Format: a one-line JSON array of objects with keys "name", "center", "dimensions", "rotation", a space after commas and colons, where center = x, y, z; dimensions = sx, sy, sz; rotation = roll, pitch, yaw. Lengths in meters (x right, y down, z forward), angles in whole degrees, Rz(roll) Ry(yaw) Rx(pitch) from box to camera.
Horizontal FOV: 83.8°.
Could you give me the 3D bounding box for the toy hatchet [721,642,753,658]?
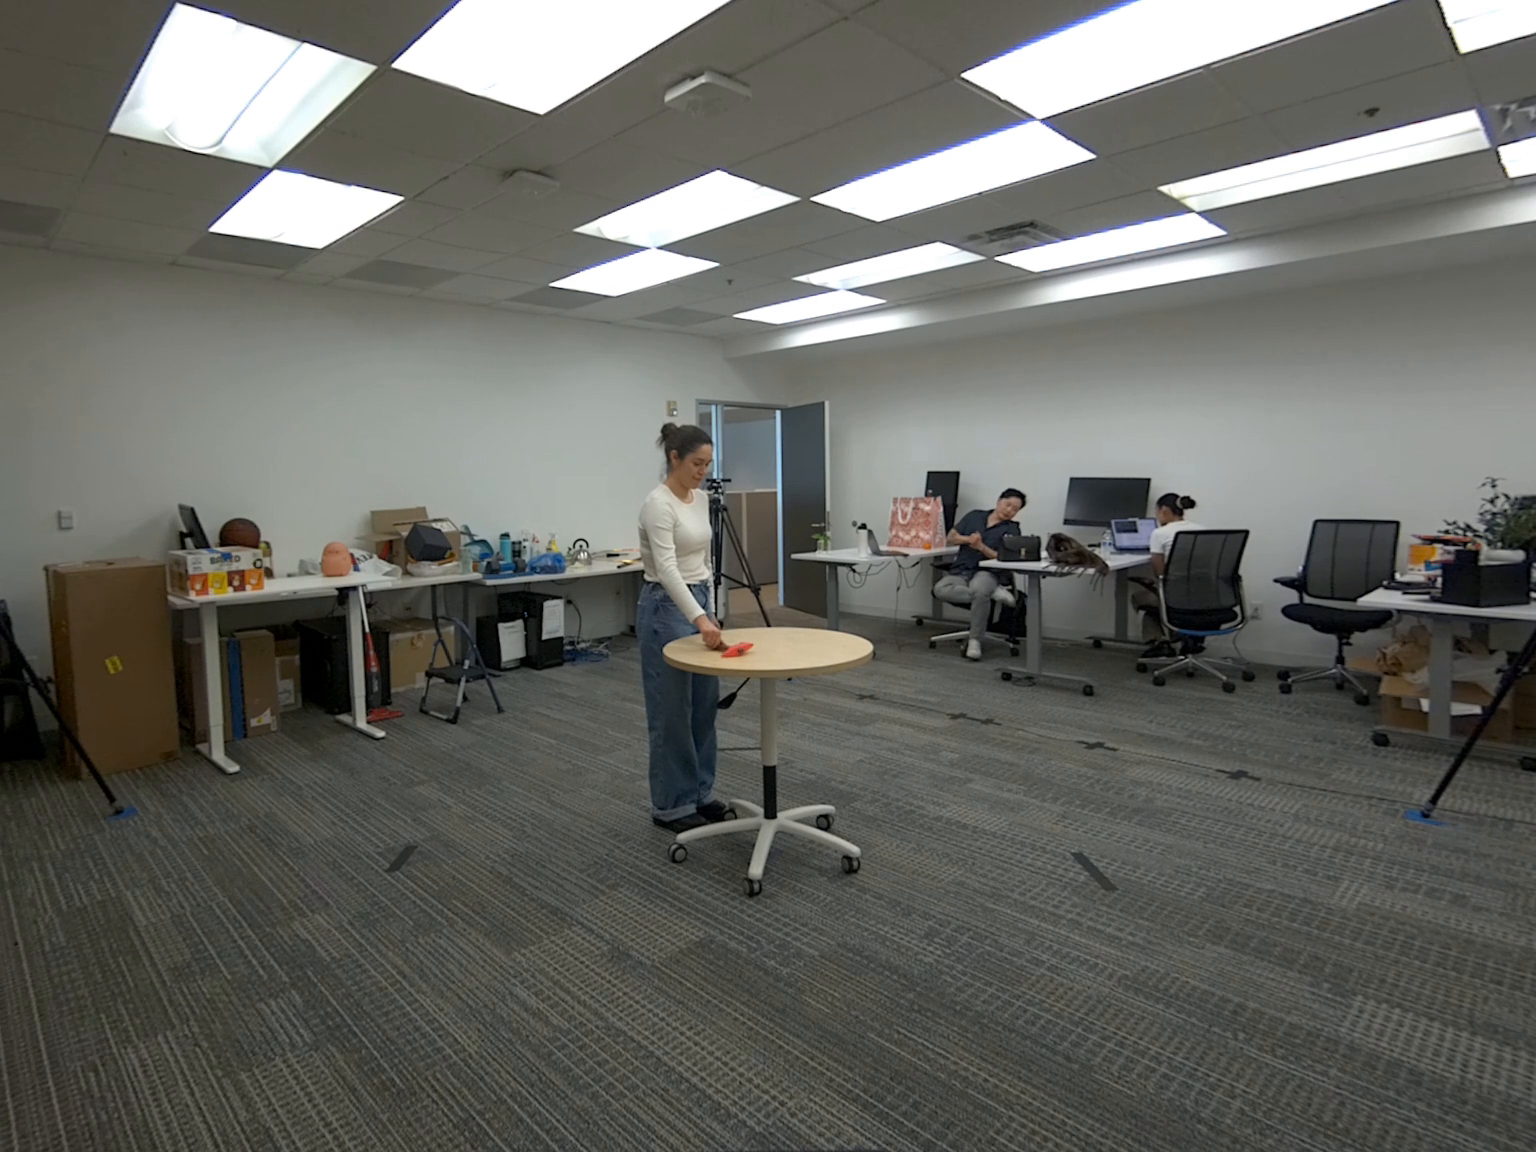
[{"name": "toy hatchet", "center": [-0.136, 0.249, 3.089], "dimensions": [0.130, 0.029, 0.275], "rotation": [-16, 10, -13]}]
